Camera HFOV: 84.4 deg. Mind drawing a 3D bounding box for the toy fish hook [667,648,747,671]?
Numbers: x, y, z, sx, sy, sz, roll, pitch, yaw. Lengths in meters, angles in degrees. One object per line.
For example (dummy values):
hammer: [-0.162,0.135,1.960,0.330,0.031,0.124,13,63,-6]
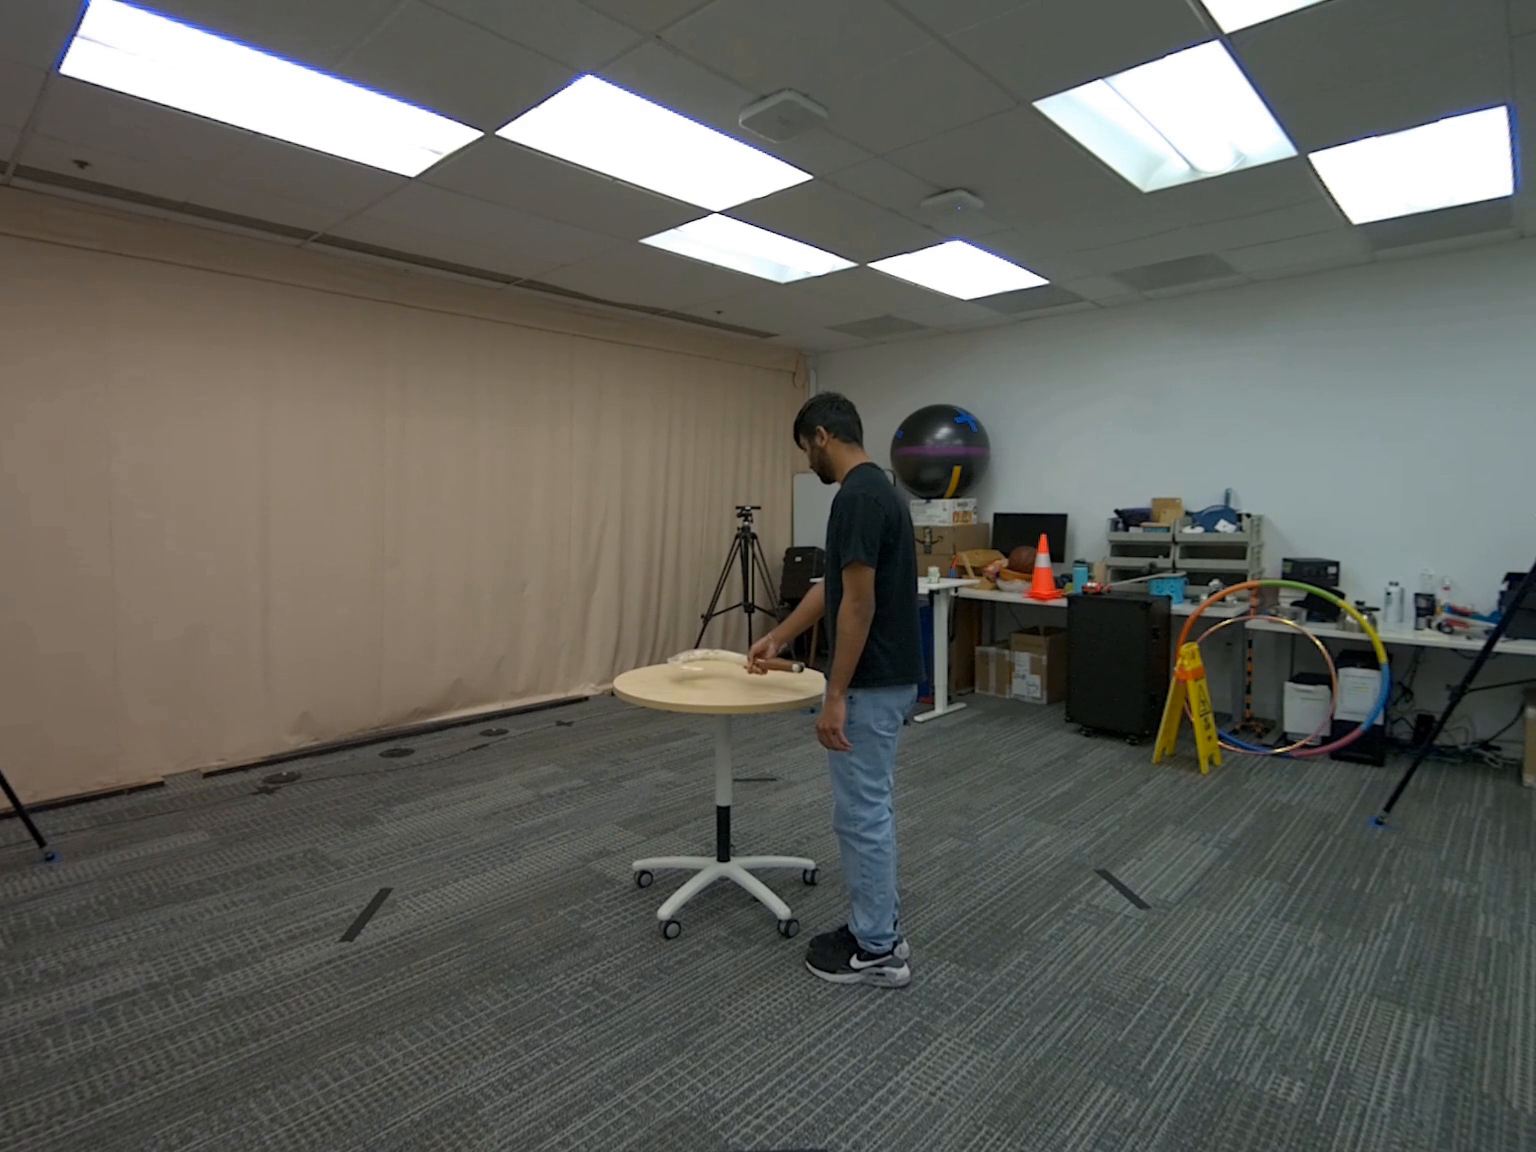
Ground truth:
toy fish hook: [-0.125,0.302,2.829,0.523,0.048,0.219,2,12,38]
